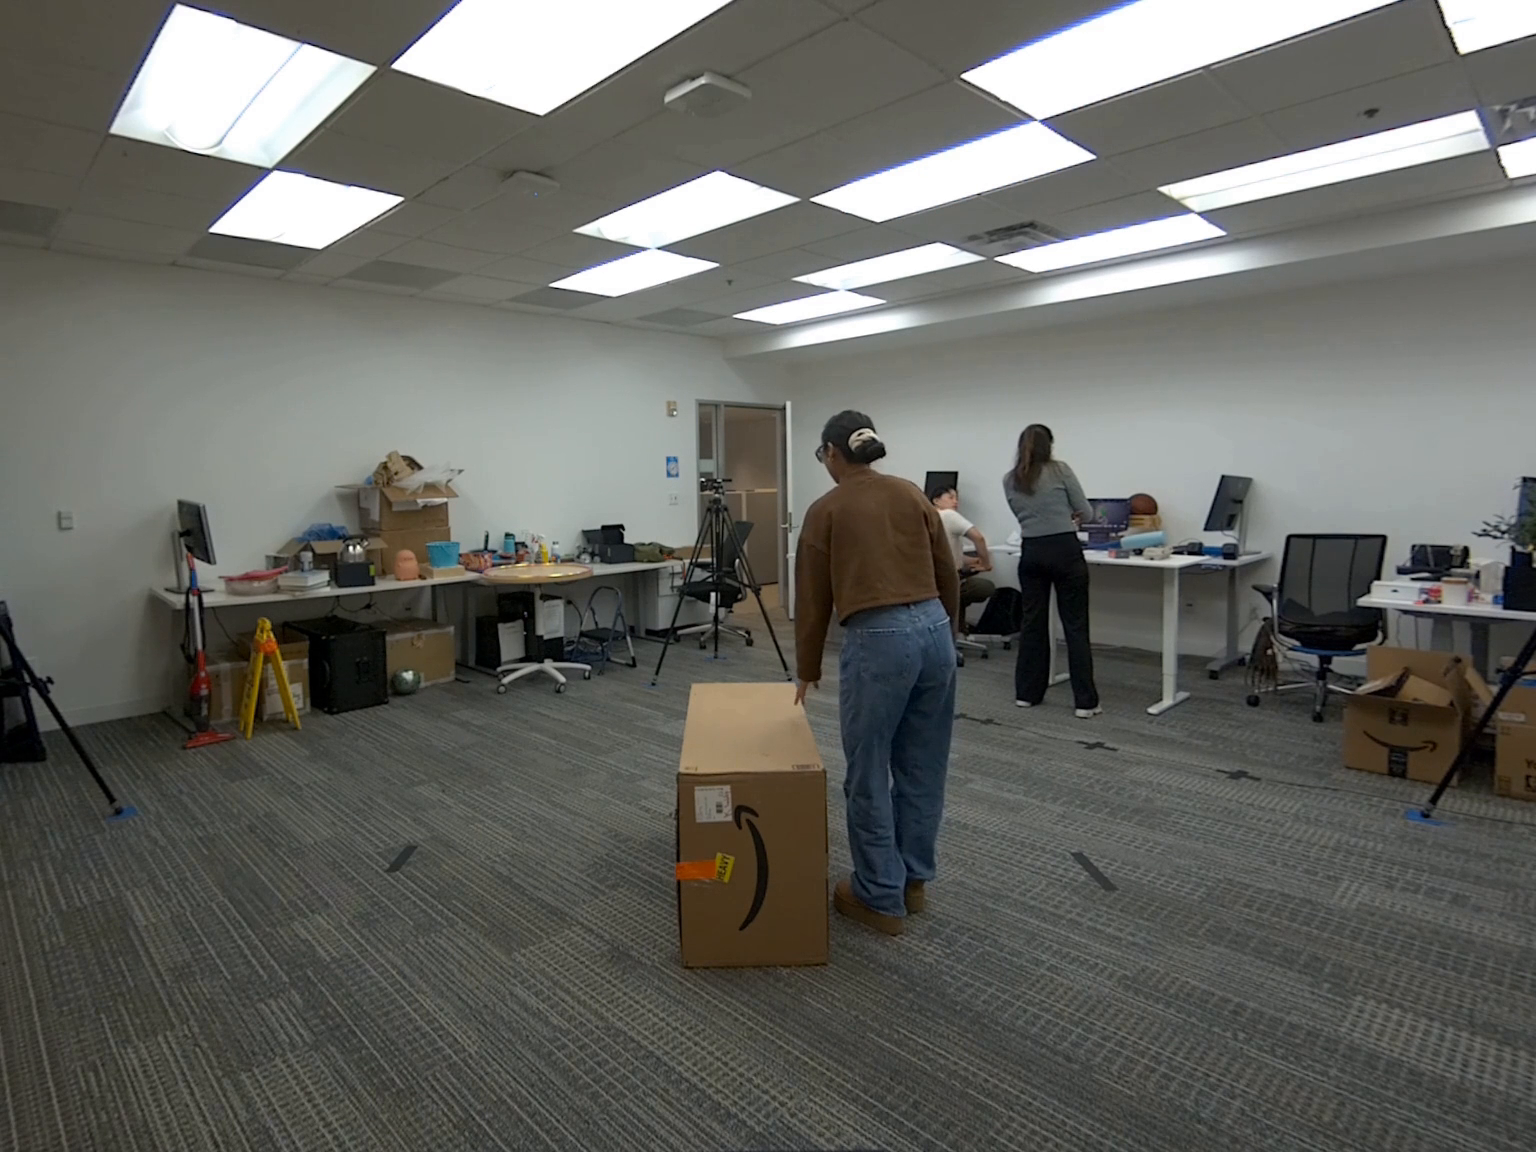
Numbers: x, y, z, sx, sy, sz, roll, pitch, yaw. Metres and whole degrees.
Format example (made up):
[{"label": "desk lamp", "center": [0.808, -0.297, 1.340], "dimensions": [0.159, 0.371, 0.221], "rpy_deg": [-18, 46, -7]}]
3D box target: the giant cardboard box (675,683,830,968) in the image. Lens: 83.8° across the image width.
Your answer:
[{"label": "giant cardboard box", "center": [-0.069, 0.777, 2.939], "dimensions": [0.446, 0.581, 1.032], "rpy_deg": [0, 6, -2]}]
